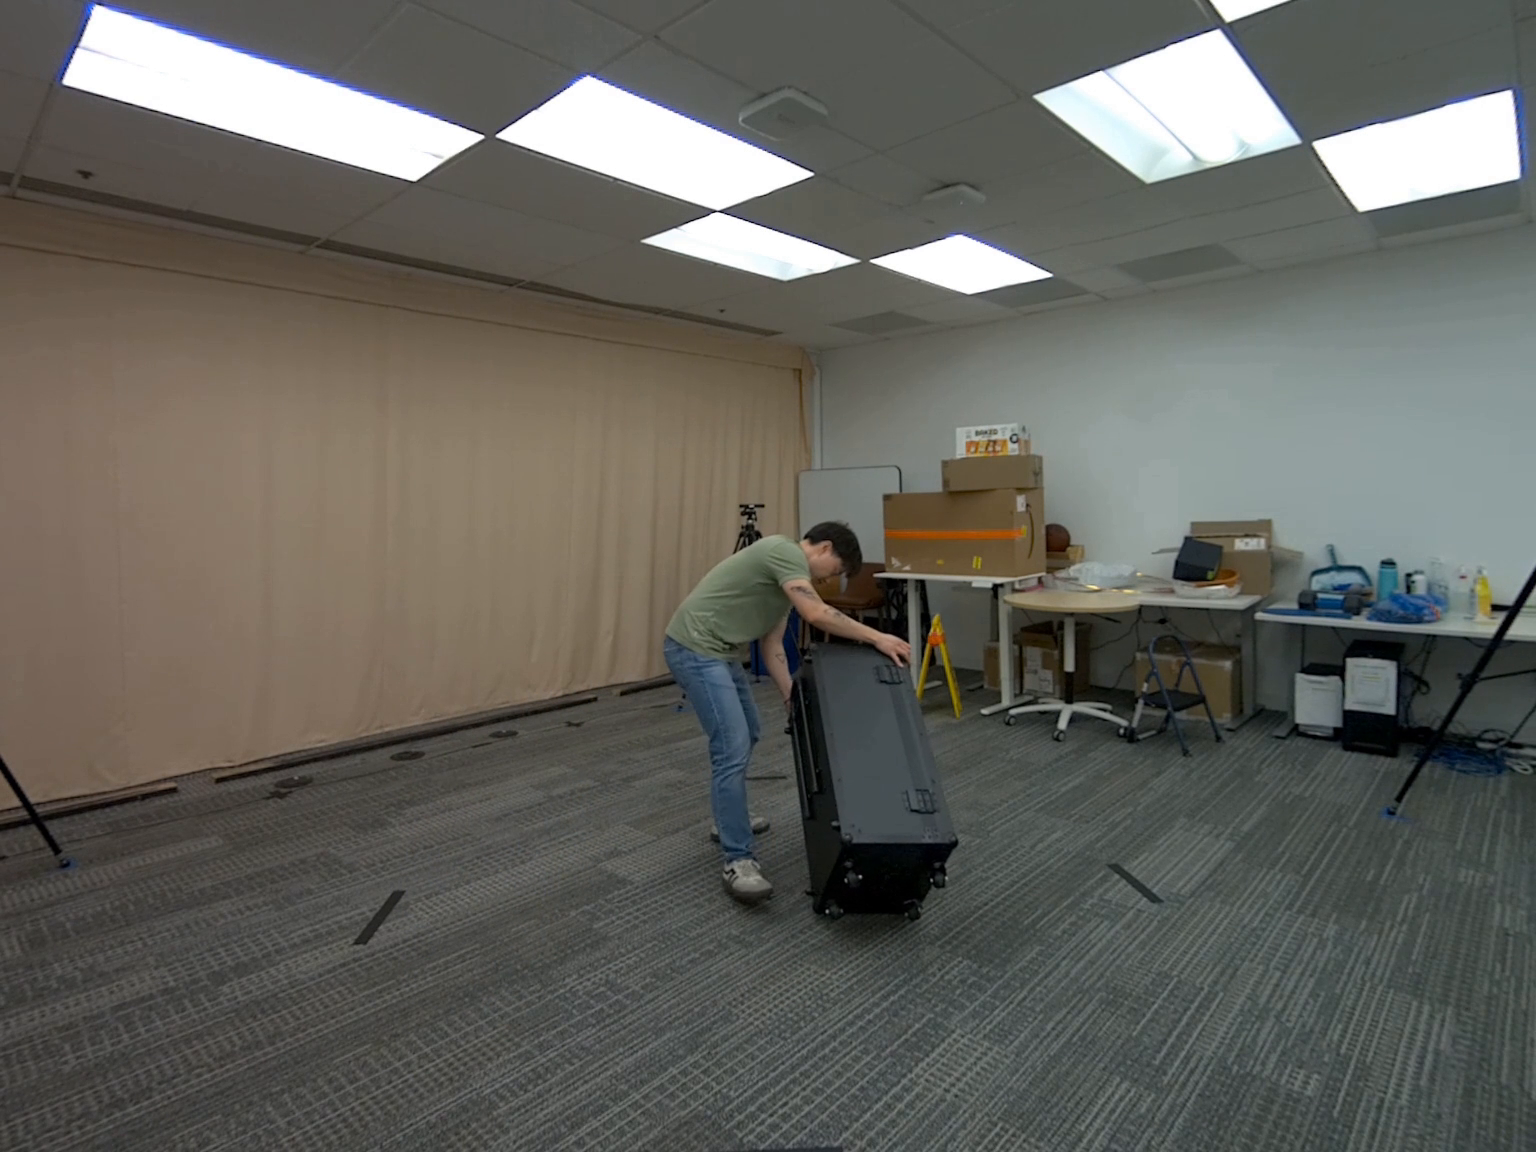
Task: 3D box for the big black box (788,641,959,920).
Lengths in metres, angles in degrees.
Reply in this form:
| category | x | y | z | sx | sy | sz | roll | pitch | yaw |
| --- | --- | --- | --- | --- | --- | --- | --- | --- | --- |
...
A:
| category | x | y | z | sx | sy | sz | roll | pitch | yaw |
| --- | --- | --- | --- | --- | --- | --- | --- | --- | --- |
| big black box | 0.324 | 0.714 | 2.917 | 0.393 | 0.514 | 0.880 | 3 | 44 | -8 |
